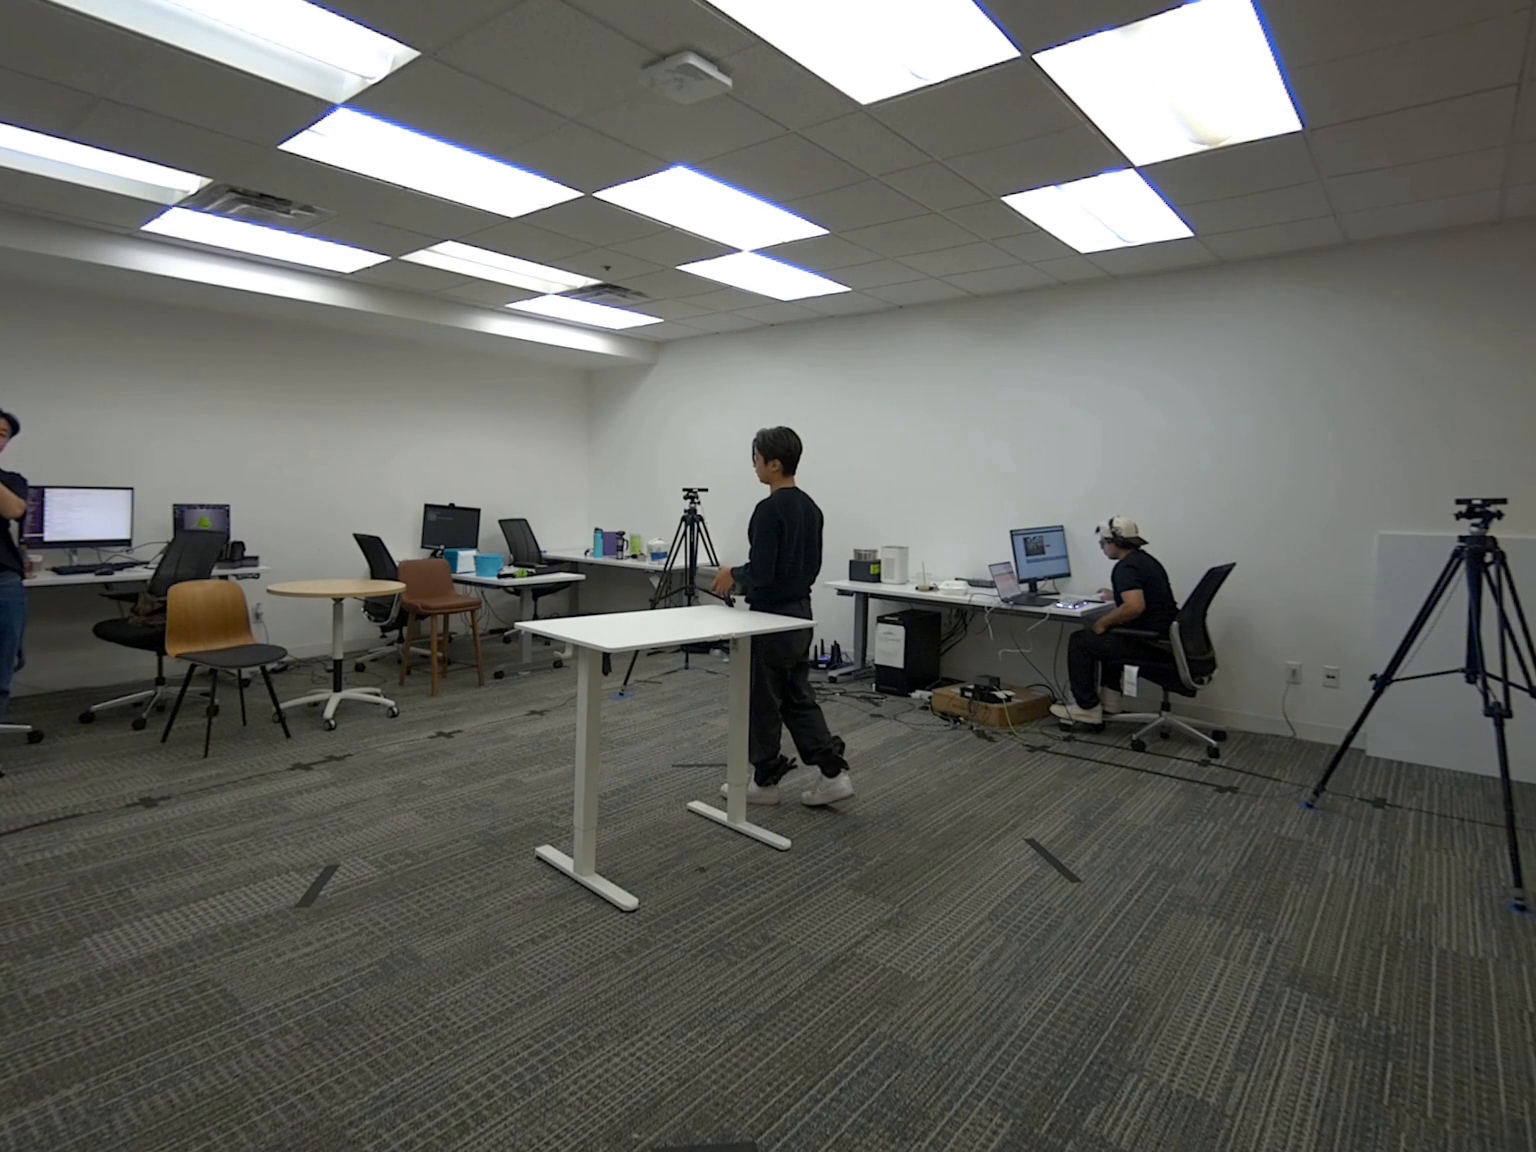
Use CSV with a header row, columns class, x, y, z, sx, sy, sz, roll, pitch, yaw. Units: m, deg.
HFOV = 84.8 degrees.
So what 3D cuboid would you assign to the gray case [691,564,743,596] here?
class,x,y,z,sx,sy,sz,roll,pitch,yaw
gray case,-0.175,0.016,3.932,0.268,0.104,0.249,9,2,28
